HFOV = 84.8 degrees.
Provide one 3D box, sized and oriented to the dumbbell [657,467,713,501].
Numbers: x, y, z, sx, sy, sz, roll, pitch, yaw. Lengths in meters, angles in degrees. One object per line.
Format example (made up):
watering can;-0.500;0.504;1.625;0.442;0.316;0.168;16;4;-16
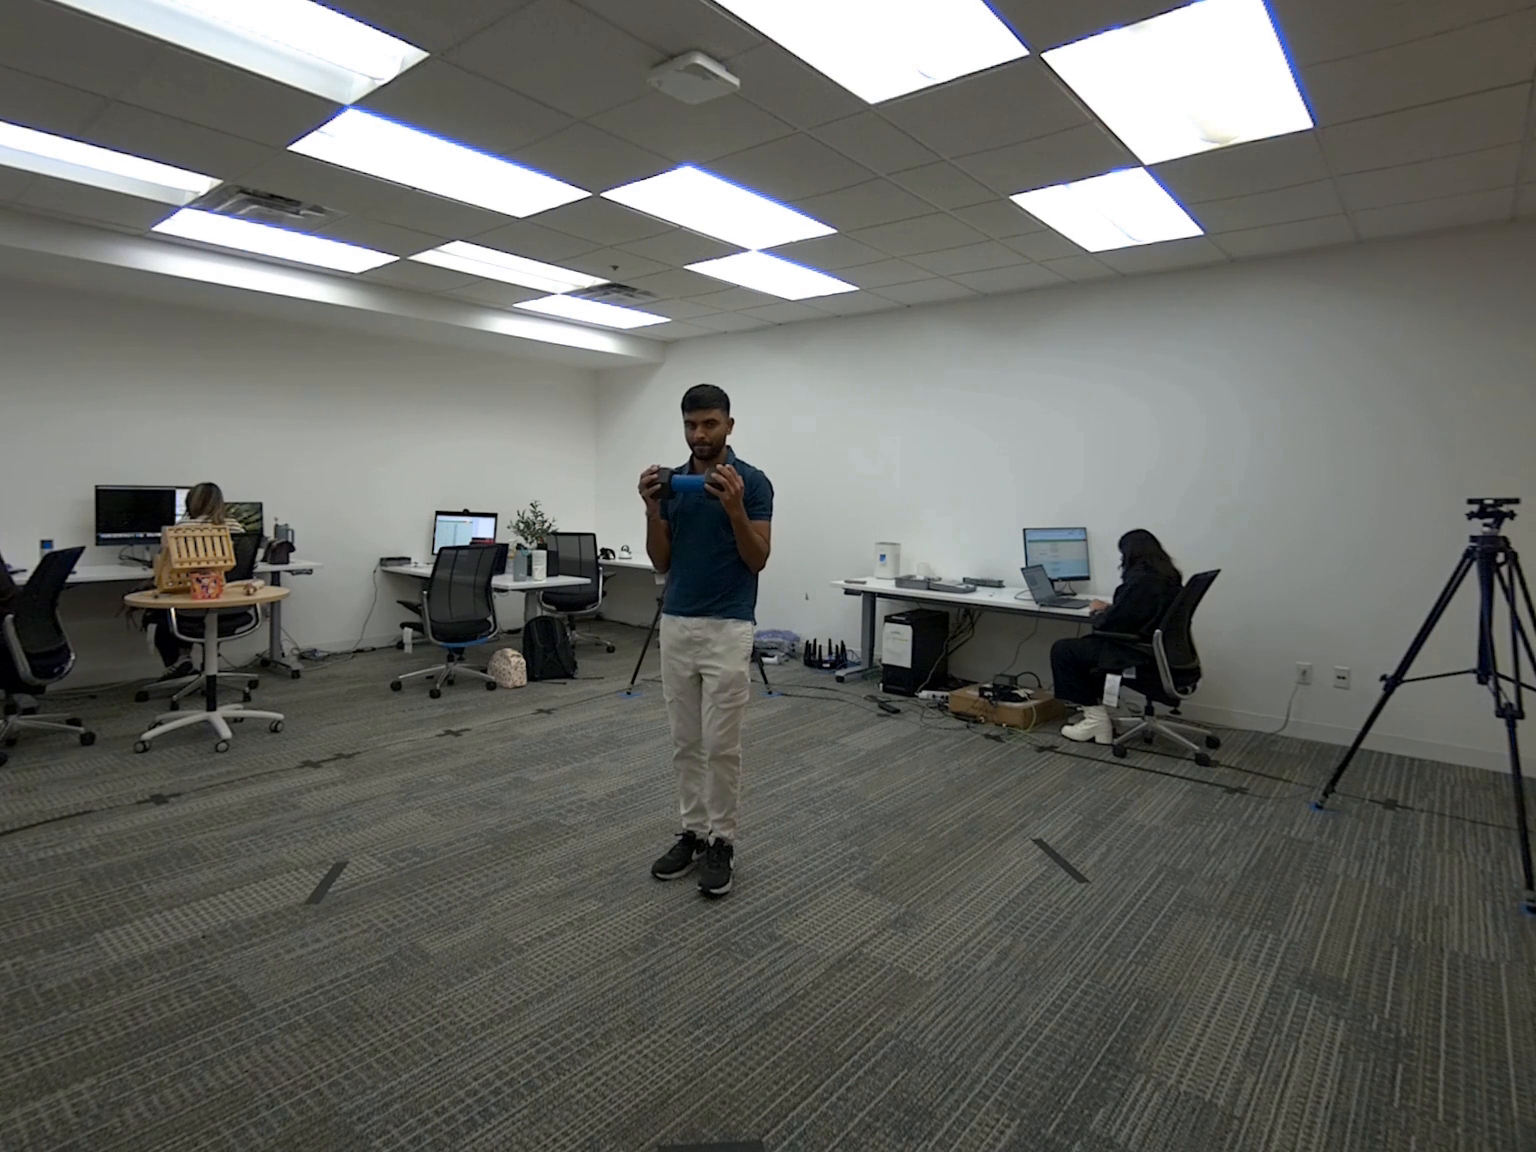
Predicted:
dumbbell;-0.272;-0.313;2.908;0.300;0.109;0.119;2;-7;22
